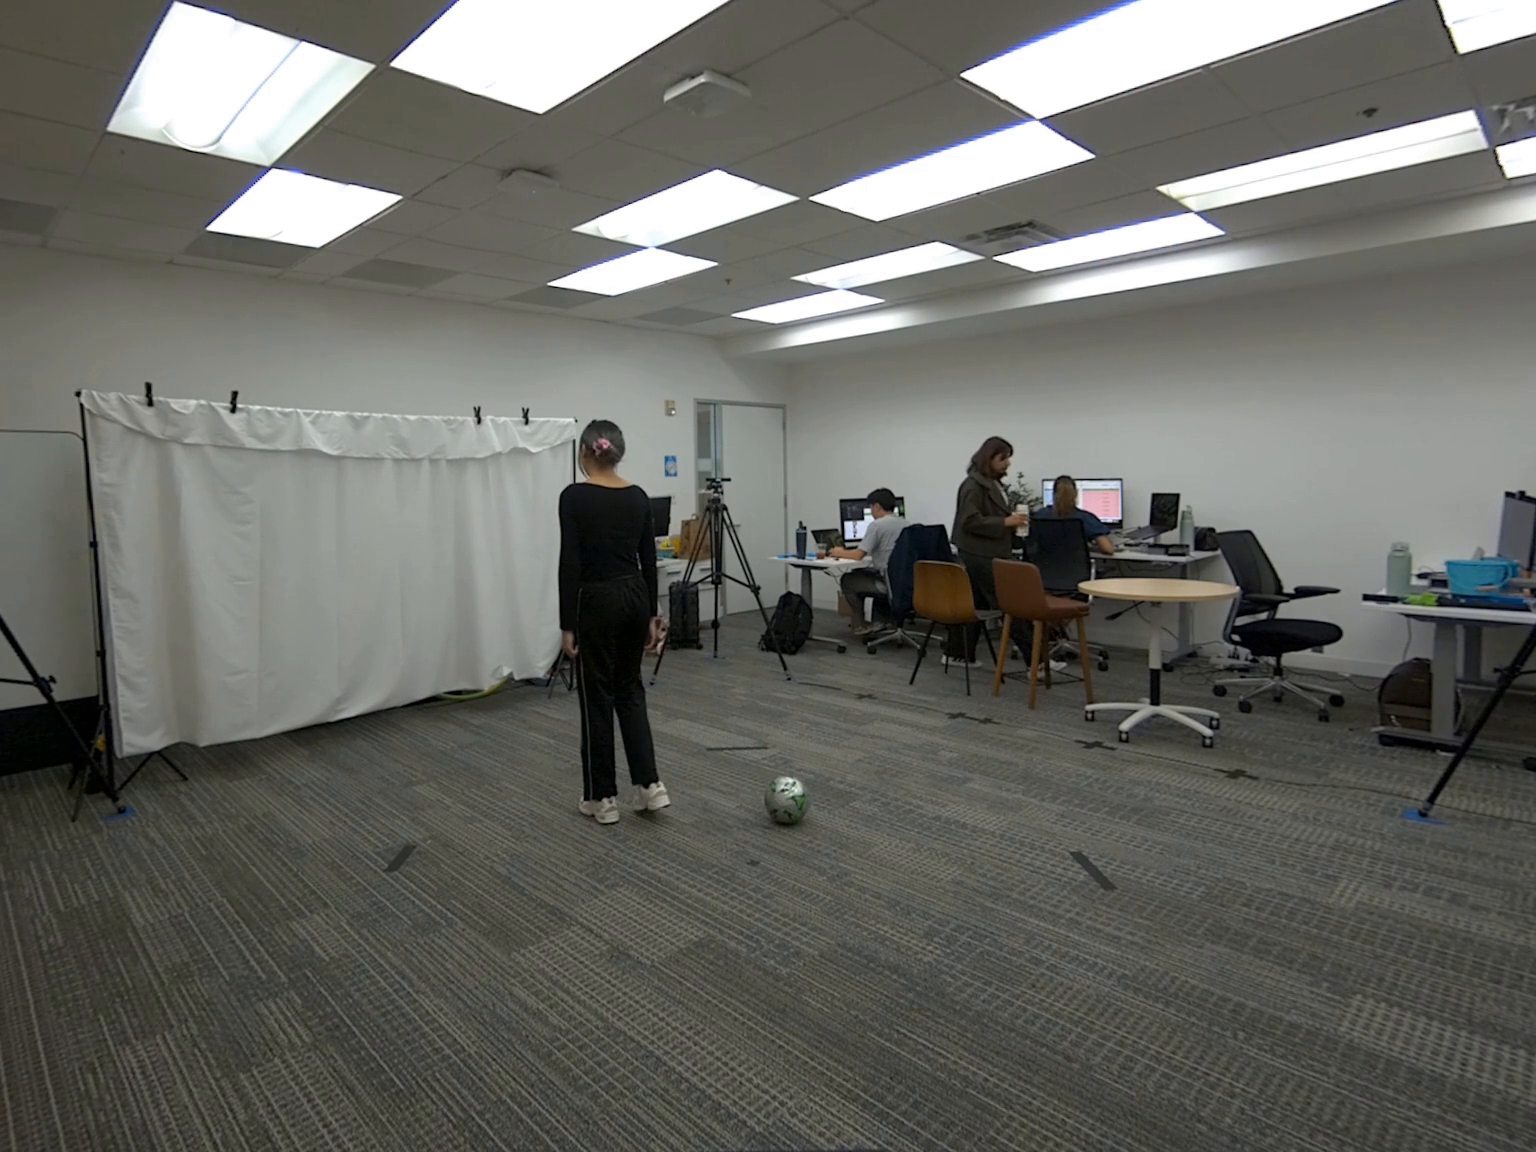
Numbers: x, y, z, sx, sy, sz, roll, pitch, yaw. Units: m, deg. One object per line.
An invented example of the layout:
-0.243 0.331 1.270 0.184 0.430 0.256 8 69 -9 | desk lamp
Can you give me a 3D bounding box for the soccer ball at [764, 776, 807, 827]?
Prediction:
0.079 0.906 3.468 0.187 0.187 0.188 -1 5 -2 | soccer ball
